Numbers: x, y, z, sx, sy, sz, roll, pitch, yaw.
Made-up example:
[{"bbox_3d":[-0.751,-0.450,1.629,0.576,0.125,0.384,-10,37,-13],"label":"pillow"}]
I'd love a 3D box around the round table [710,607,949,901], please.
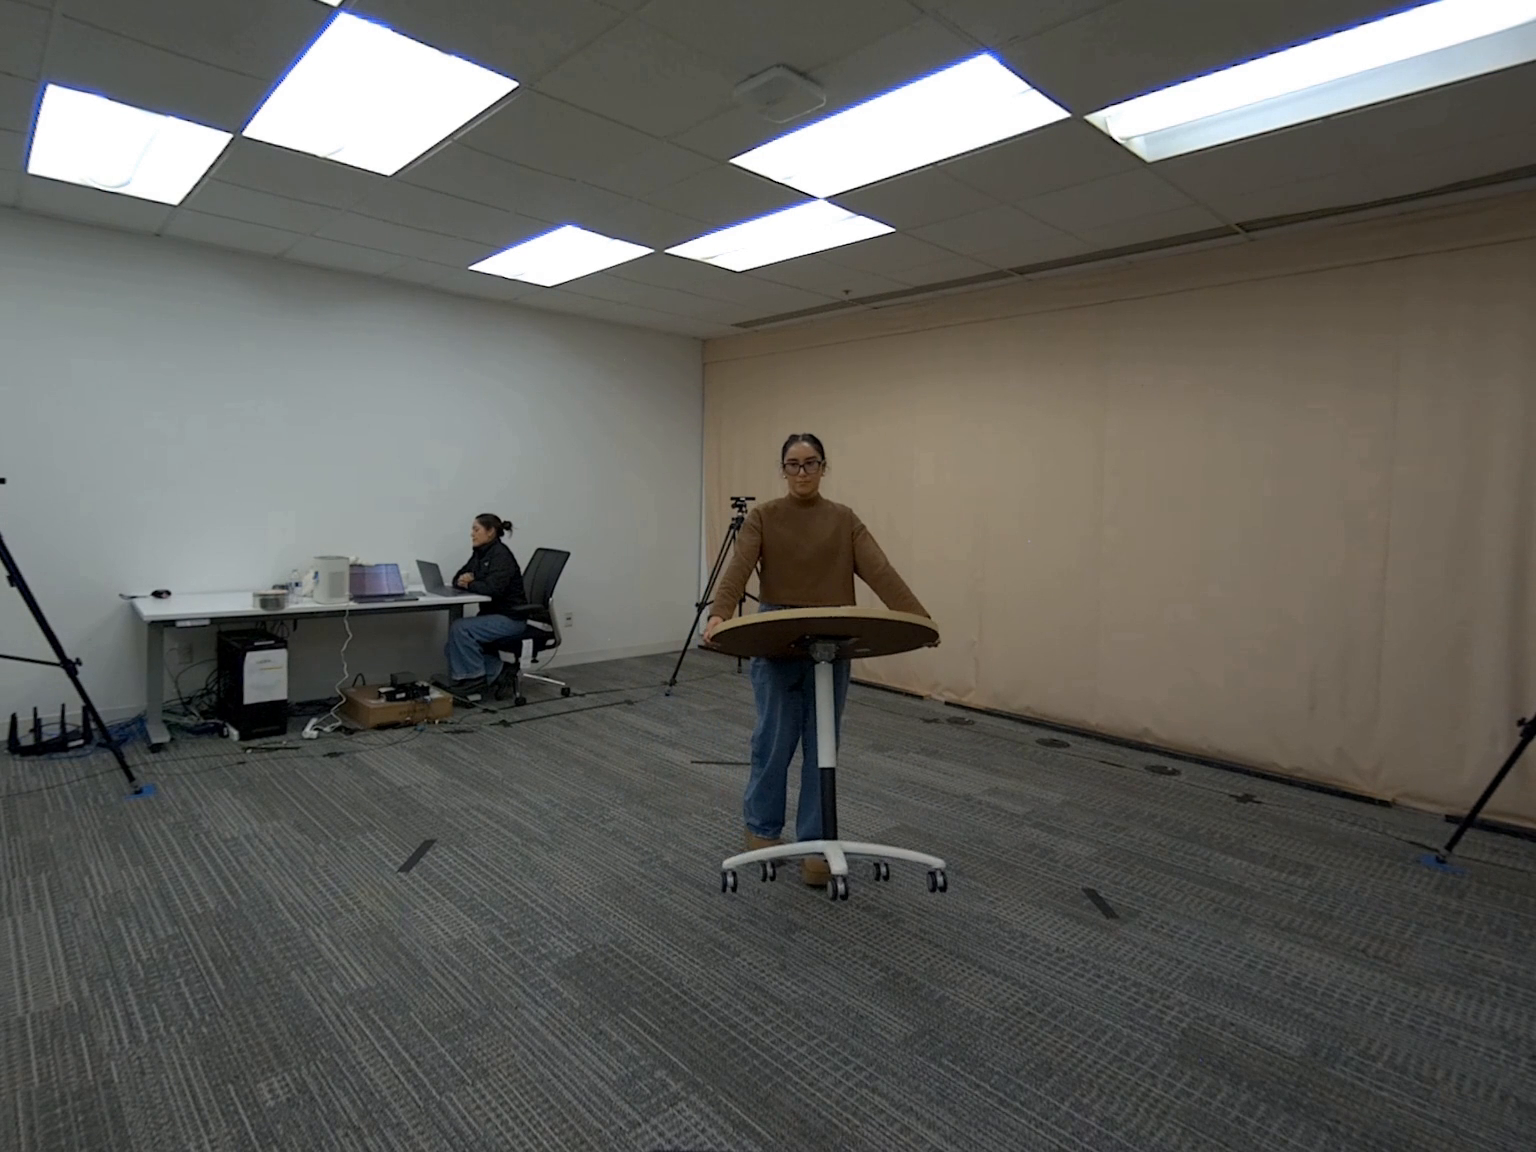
[{"bbox_3d":[0.189,0.583,2.714,0.784,0.796,0.776,0,-16,-1],"label":"round table"}]
